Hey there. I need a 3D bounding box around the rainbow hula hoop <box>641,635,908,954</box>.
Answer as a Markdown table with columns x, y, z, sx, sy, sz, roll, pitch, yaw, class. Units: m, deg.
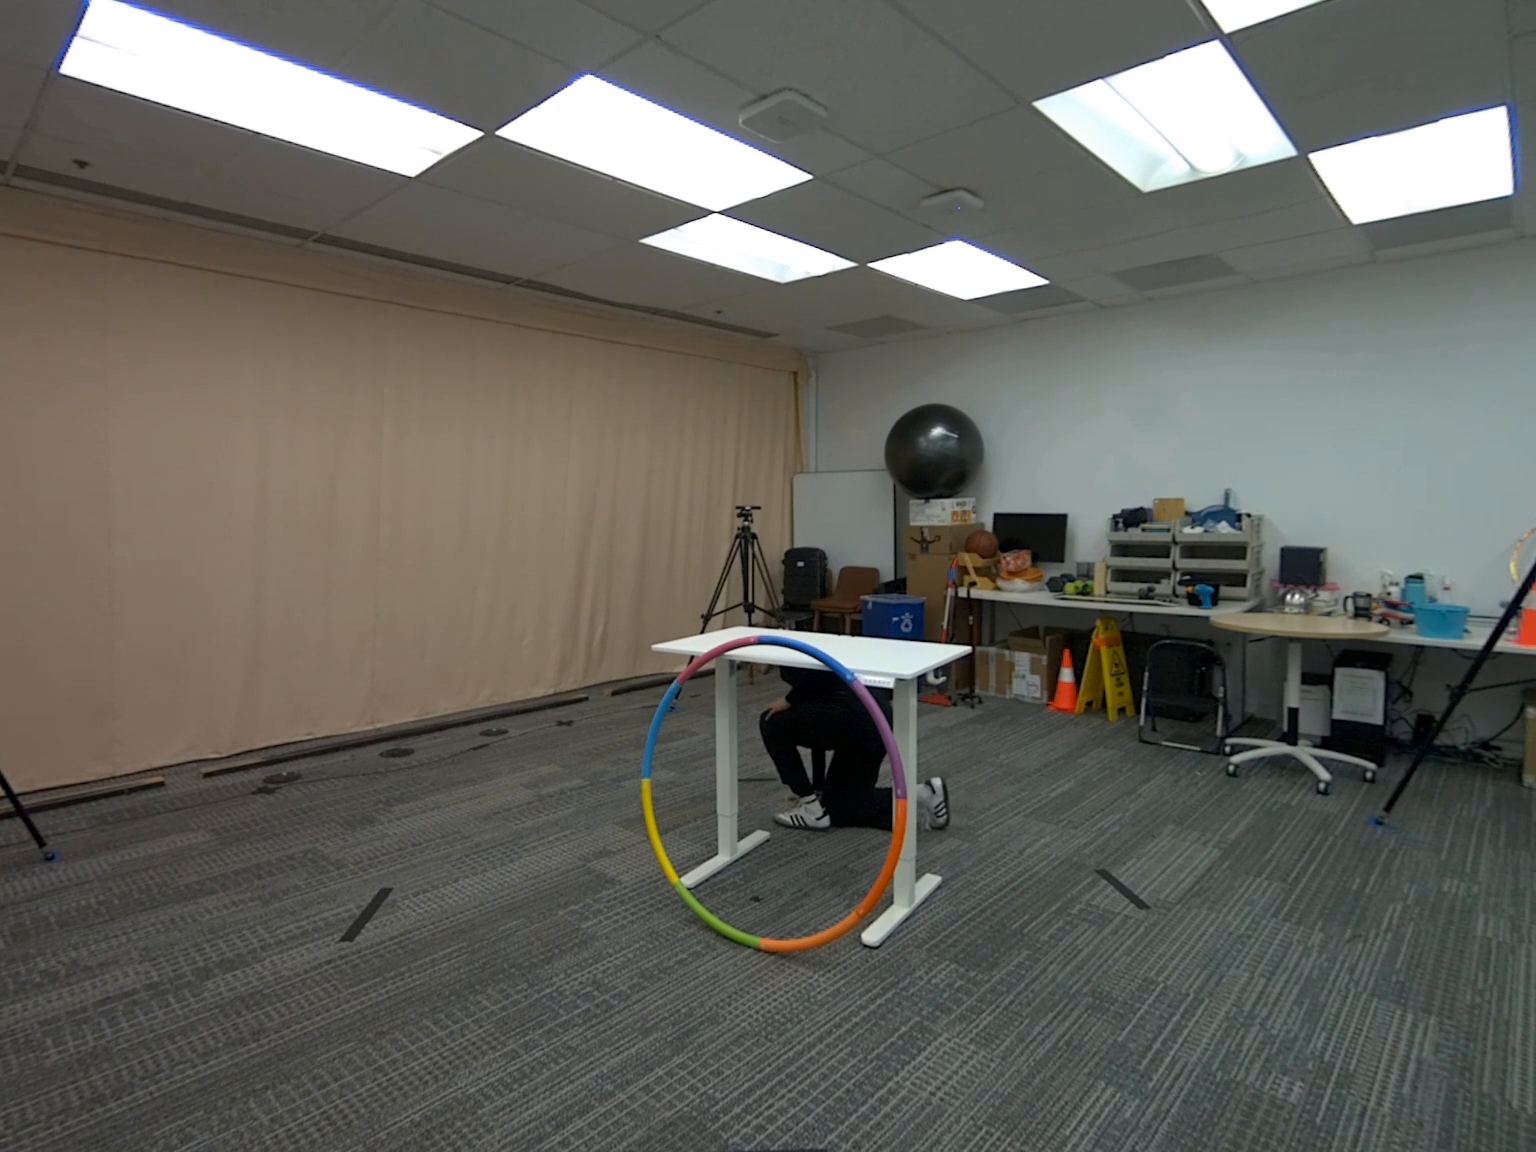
| x | y | z | sx | sy | sz | roll | pitch | yaw | class |
| --- | --- | --- | --- | --- | --- | --- | --- | --- | --- |
| -0.022 | 0.684 | 2.729 | 1.009 | 0.982 | 0.034 | 2 | -7 | 34 | rainbow hula hoop |
